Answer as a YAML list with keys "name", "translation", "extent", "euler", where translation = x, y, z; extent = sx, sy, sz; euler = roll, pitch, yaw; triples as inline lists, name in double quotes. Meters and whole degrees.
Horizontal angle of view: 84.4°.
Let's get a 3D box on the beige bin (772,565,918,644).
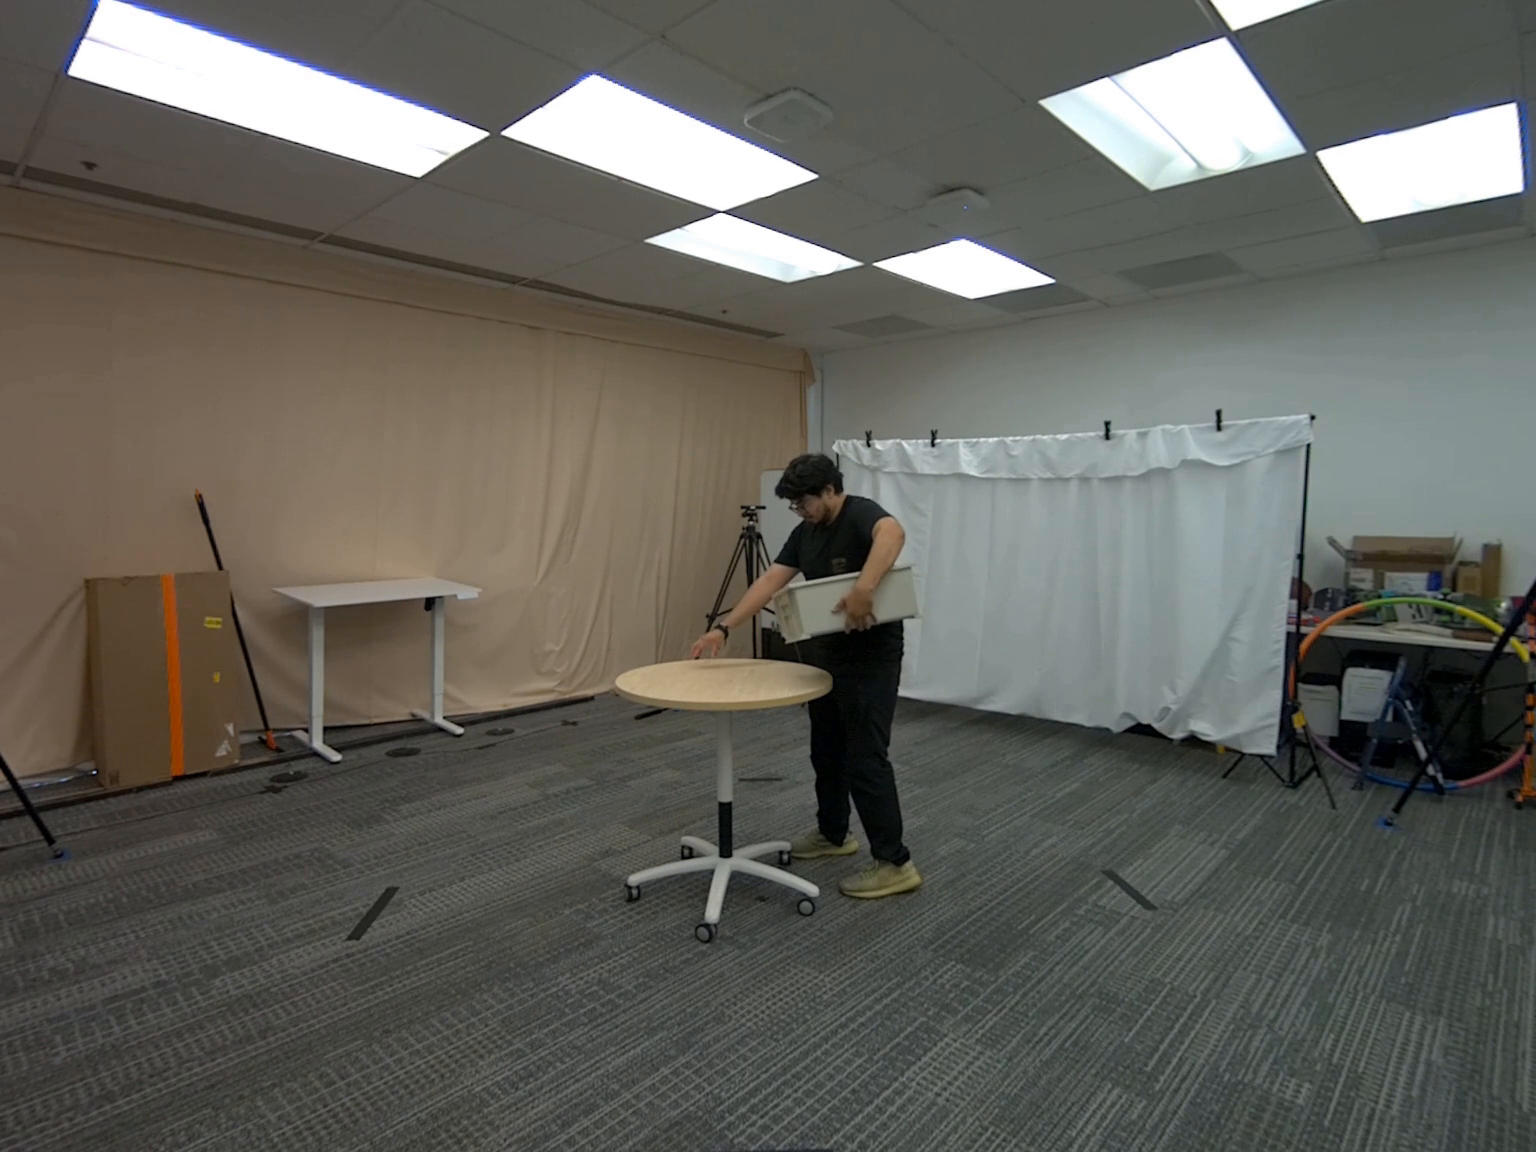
- name: "beige bin"
  translation: [0.259, 0.099, 2.870]
  extent: [0.419, 0.190, 0.379]
  euler: [-10, -3, -8]
